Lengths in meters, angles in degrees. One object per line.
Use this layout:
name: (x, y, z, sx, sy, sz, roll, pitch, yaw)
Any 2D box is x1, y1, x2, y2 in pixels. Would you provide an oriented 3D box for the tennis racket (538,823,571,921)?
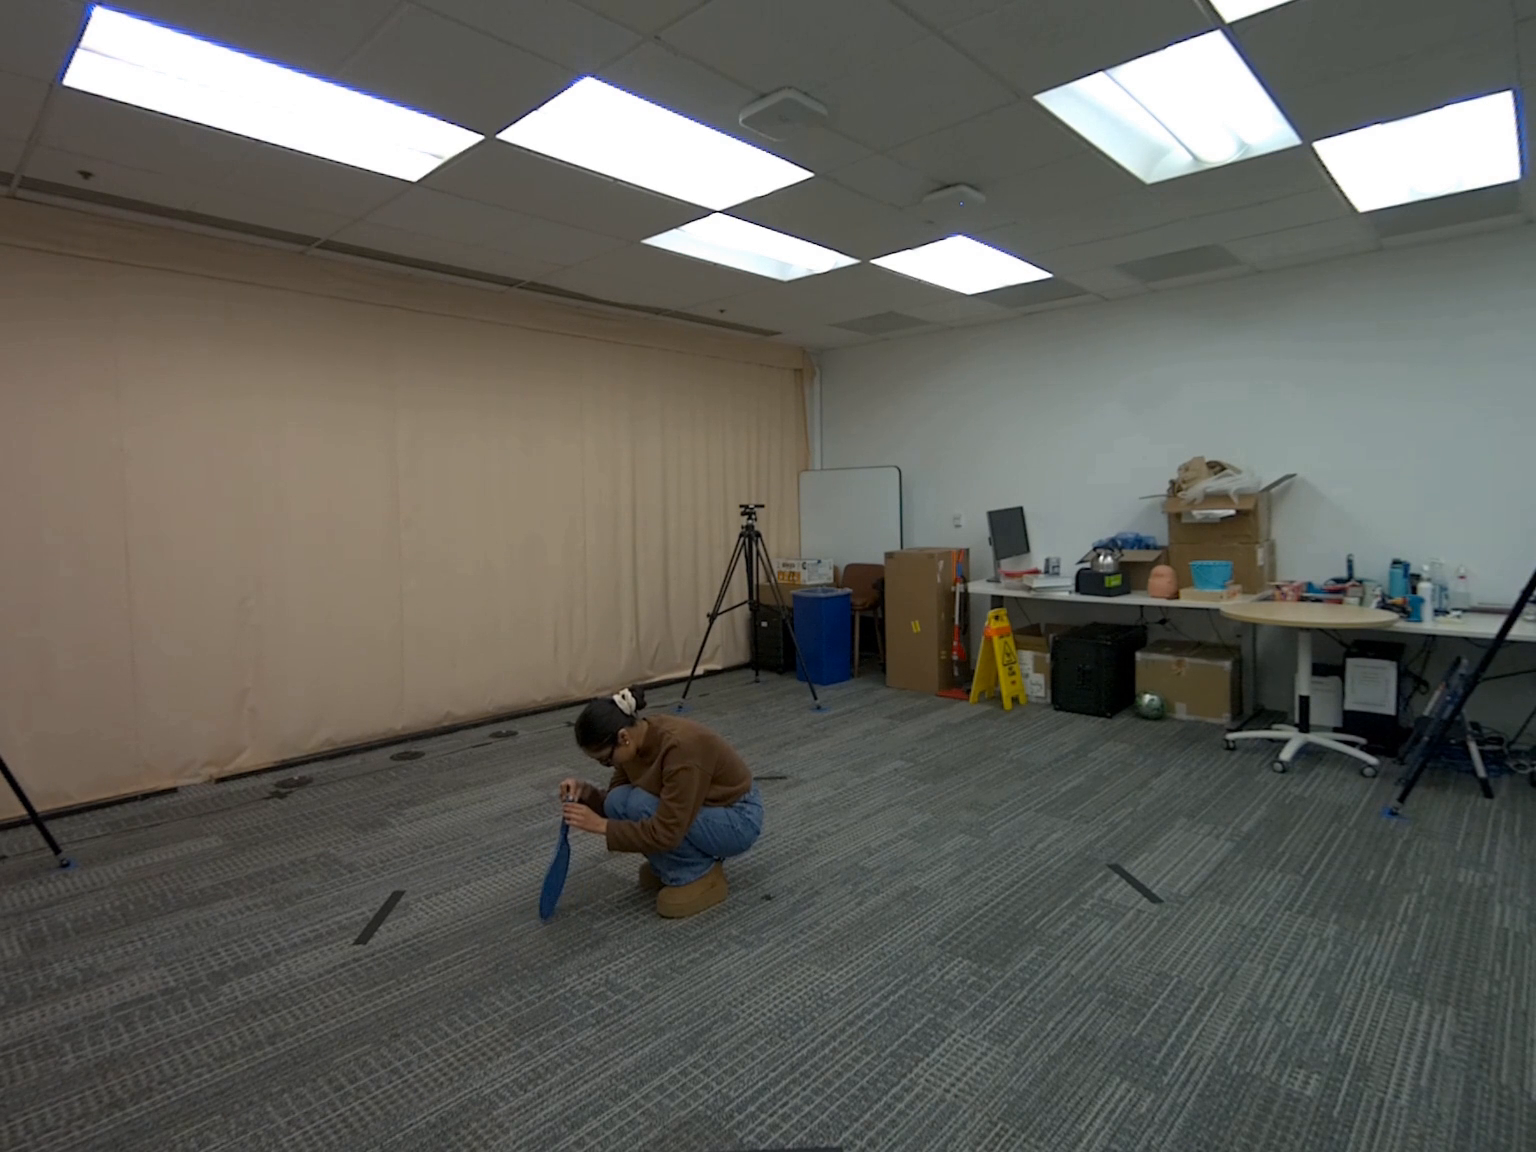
tennis racket: (-0.705, 0.958, 2.860, 0.032, 0.431, 0.214, 8, 9, -1)
